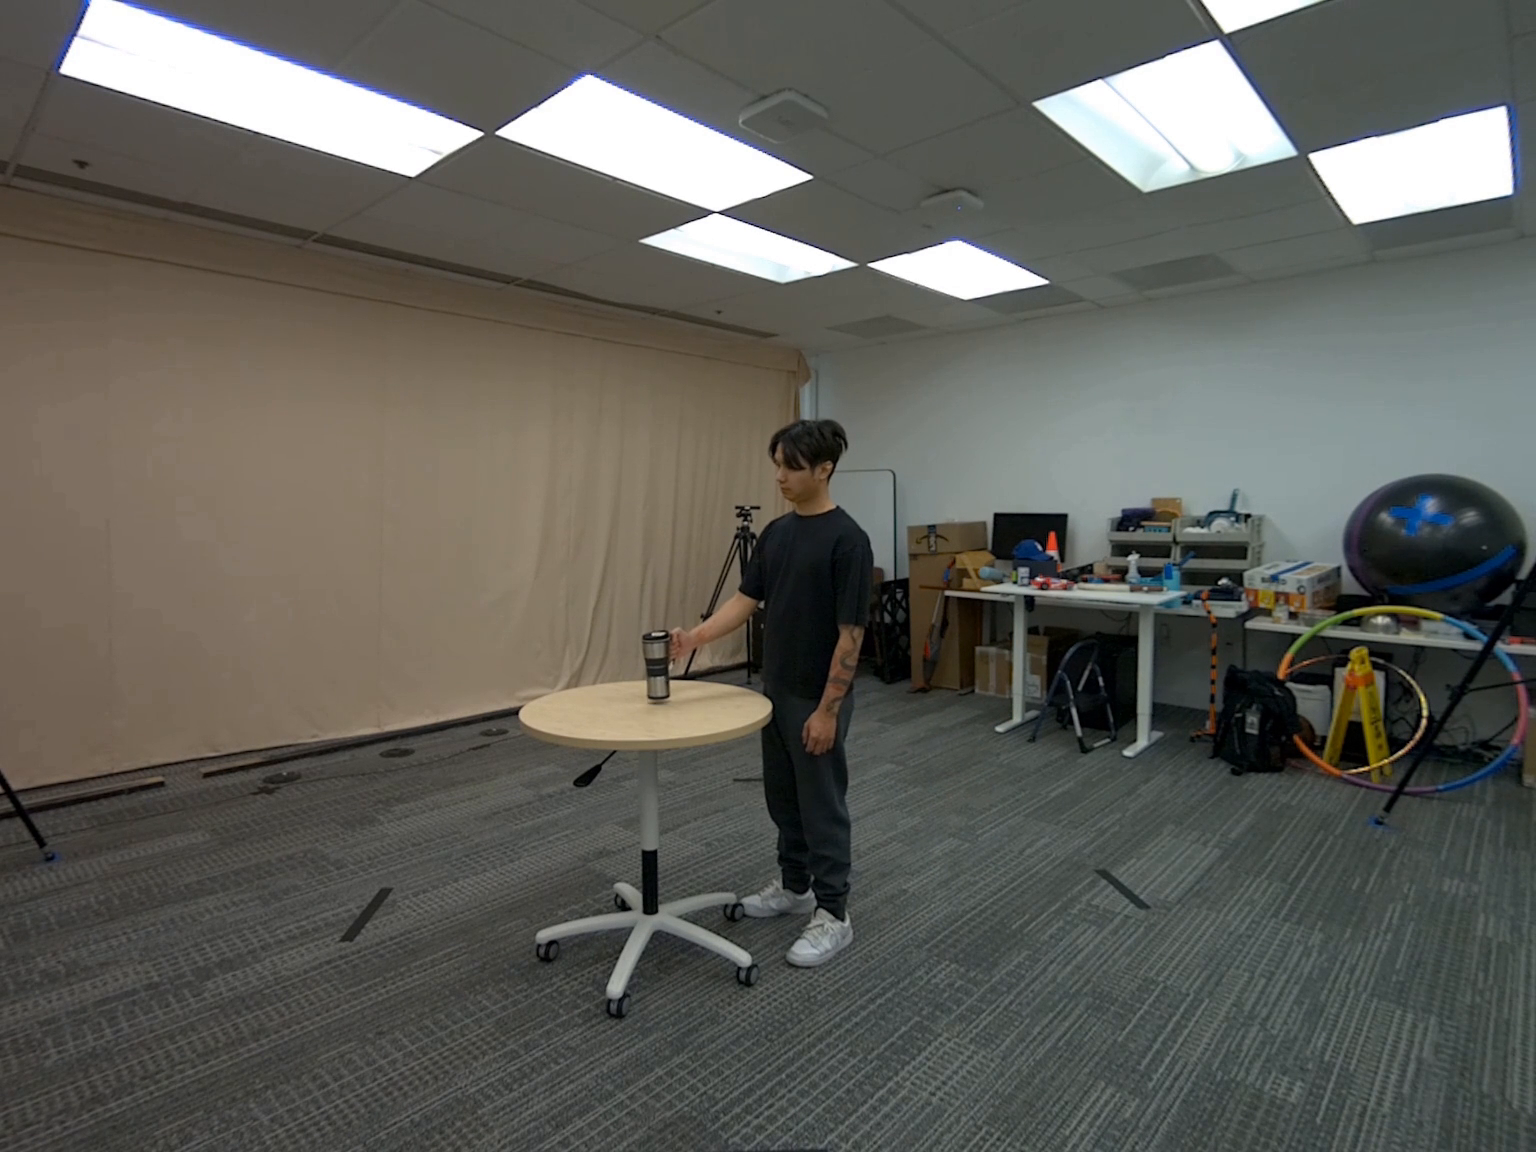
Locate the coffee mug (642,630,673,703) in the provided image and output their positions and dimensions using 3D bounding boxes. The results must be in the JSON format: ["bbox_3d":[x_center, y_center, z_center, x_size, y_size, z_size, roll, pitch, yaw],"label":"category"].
[{"bbox_3d":[-0.320,0.270,2.614,0.119,0.202,0.090,-7,4,-34],"label":"coffee mug"}]
